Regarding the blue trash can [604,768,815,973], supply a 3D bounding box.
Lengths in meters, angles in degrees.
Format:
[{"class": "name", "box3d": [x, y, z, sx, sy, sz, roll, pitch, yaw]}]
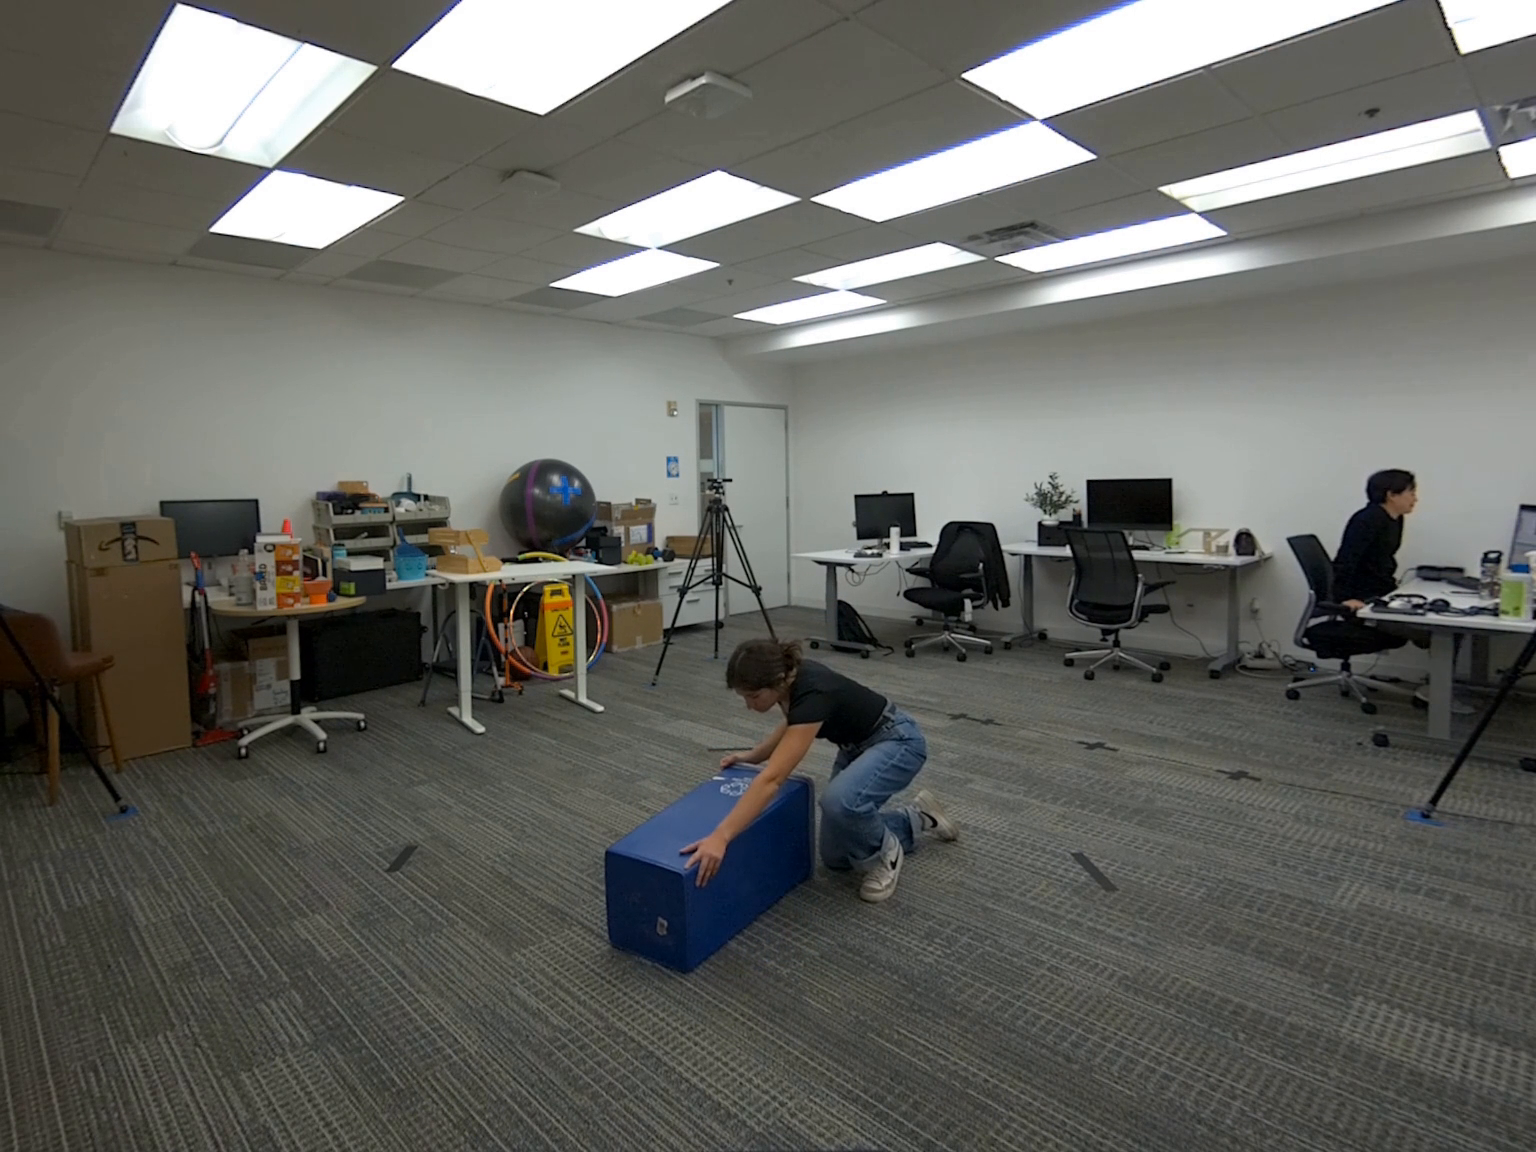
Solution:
[{"class": "blue trash can", "box3d": [-0.168, 0.920, 2.772, 0.384, 0.375, 0.699, 3, 10, 31]}]
